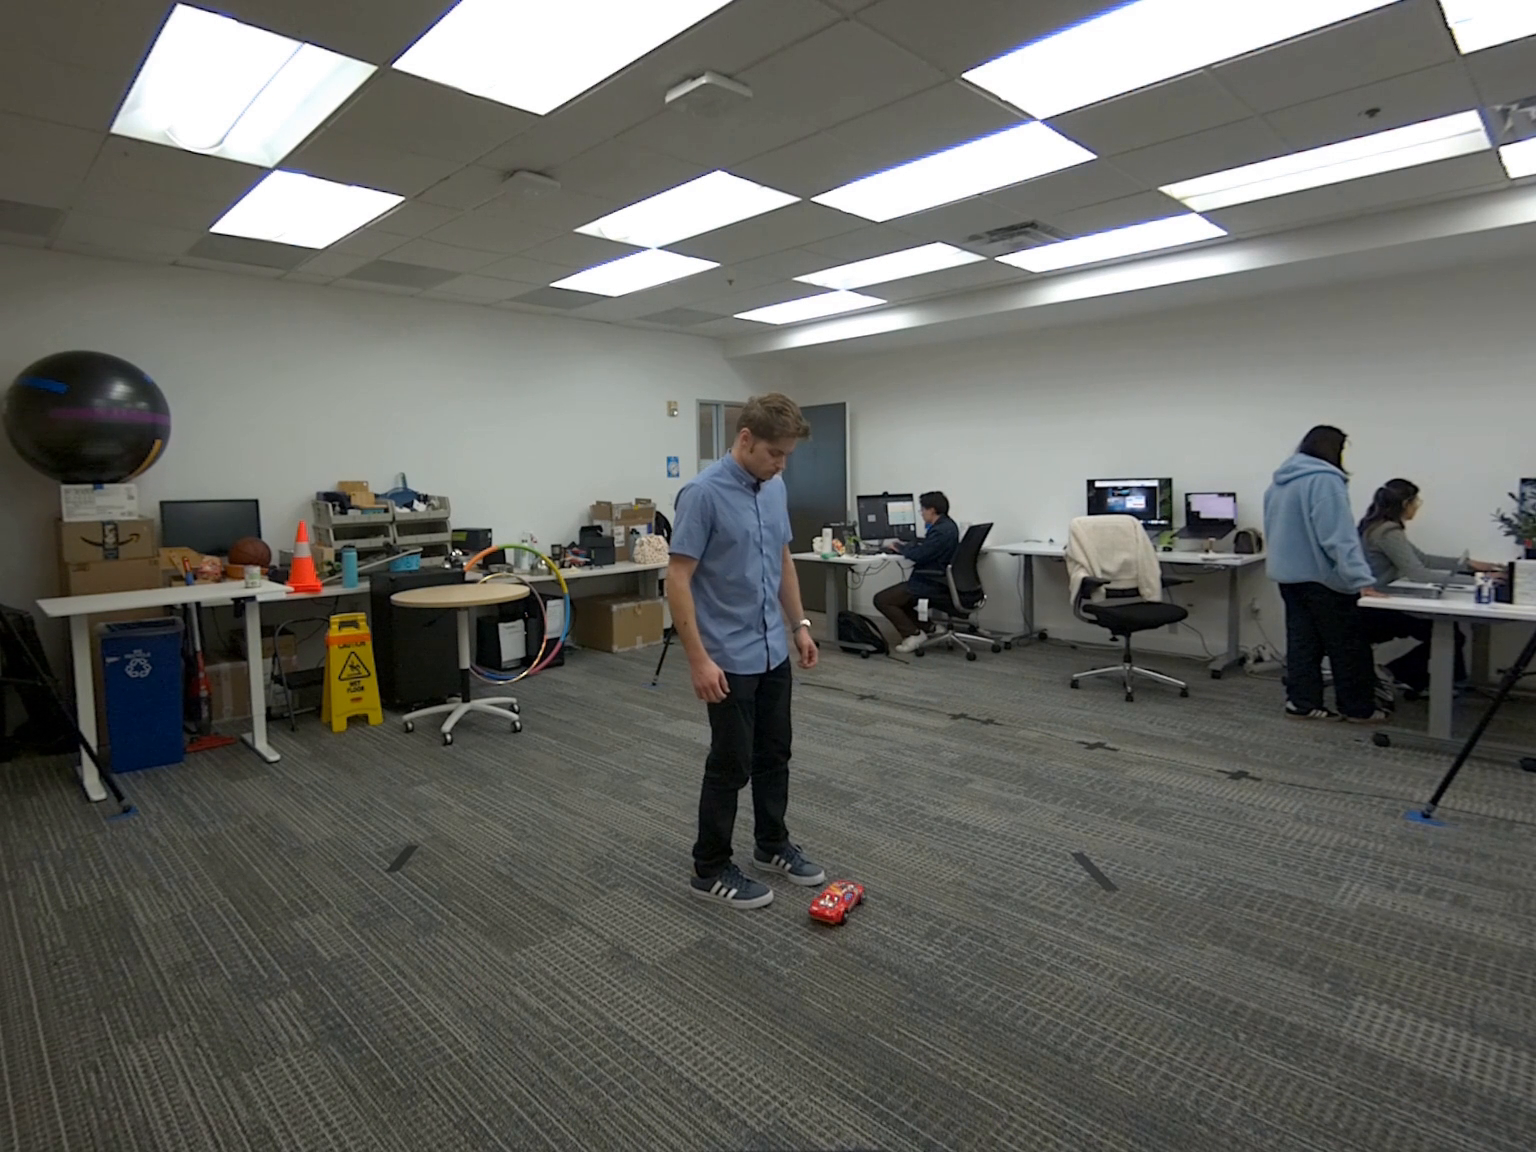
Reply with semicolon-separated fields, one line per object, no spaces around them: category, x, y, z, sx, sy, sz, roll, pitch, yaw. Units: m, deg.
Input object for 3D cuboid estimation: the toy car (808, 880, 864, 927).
toy car;0.223;1.052;2.736;0.134;0.083;0.247;4;-4;32
